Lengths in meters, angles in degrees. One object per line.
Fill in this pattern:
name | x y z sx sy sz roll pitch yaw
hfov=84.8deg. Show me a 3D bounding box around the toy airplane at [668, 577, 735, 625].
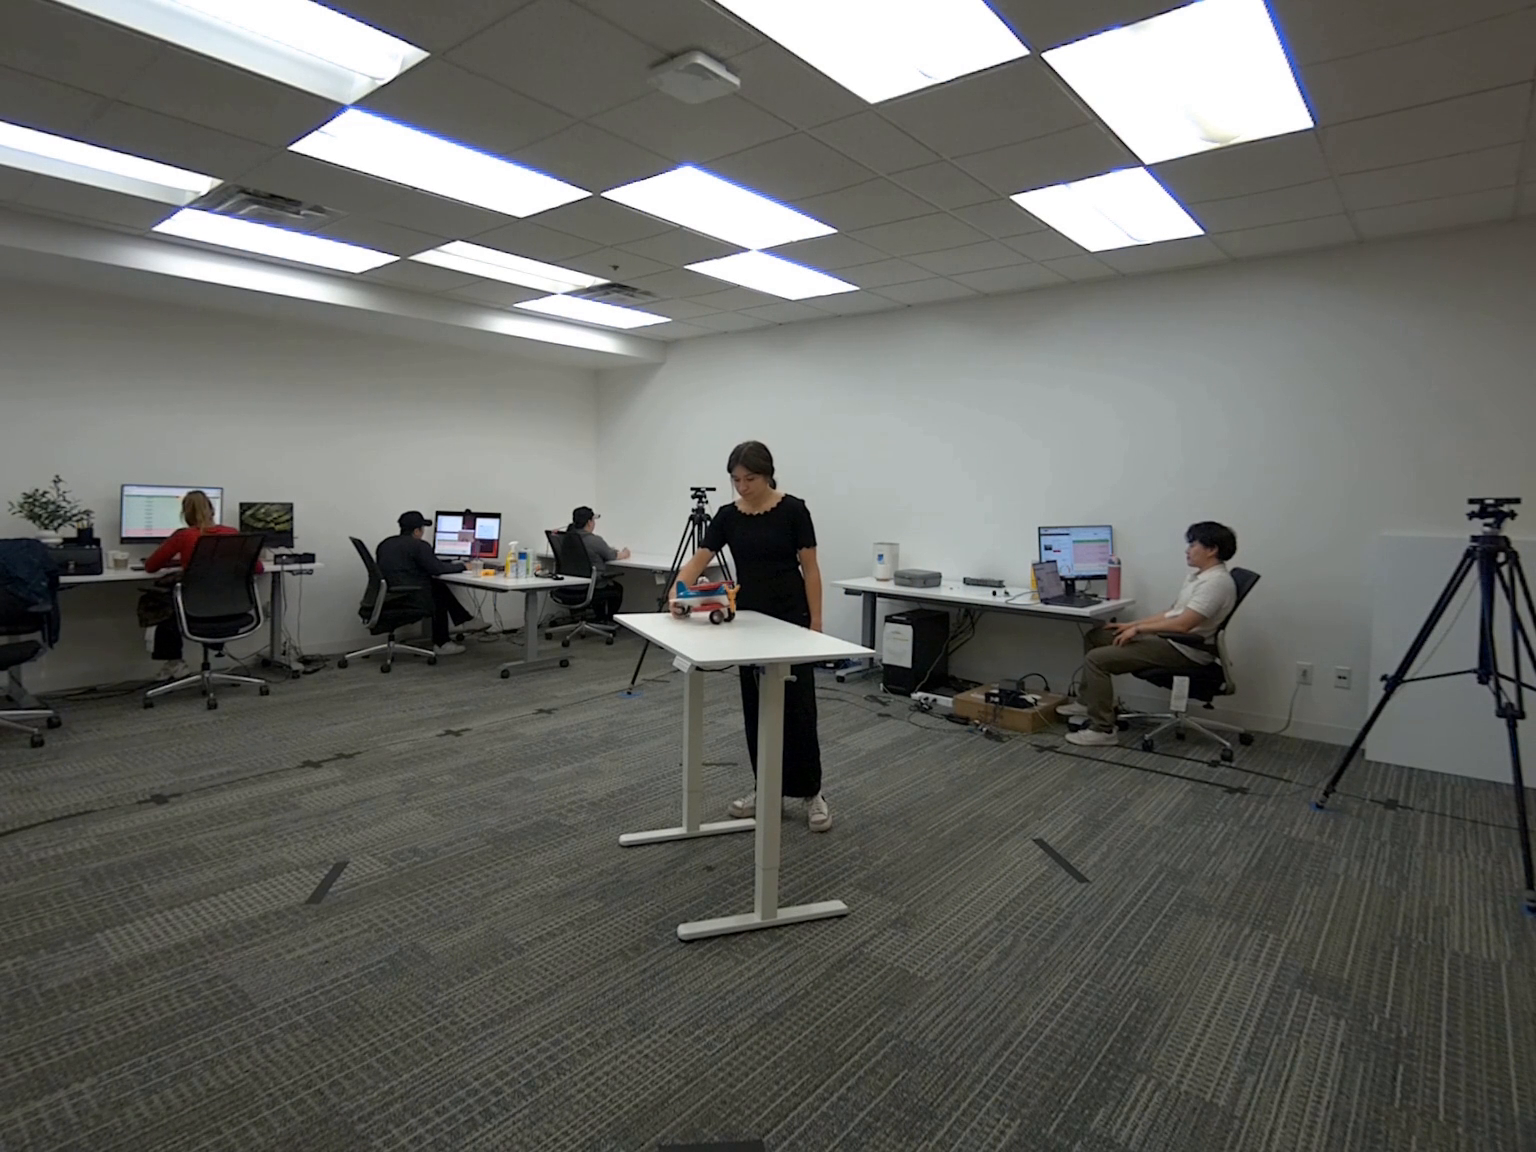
toy airplane | -0.257 0.088 3.238 0.259 0.156 0.252 7 6 0
